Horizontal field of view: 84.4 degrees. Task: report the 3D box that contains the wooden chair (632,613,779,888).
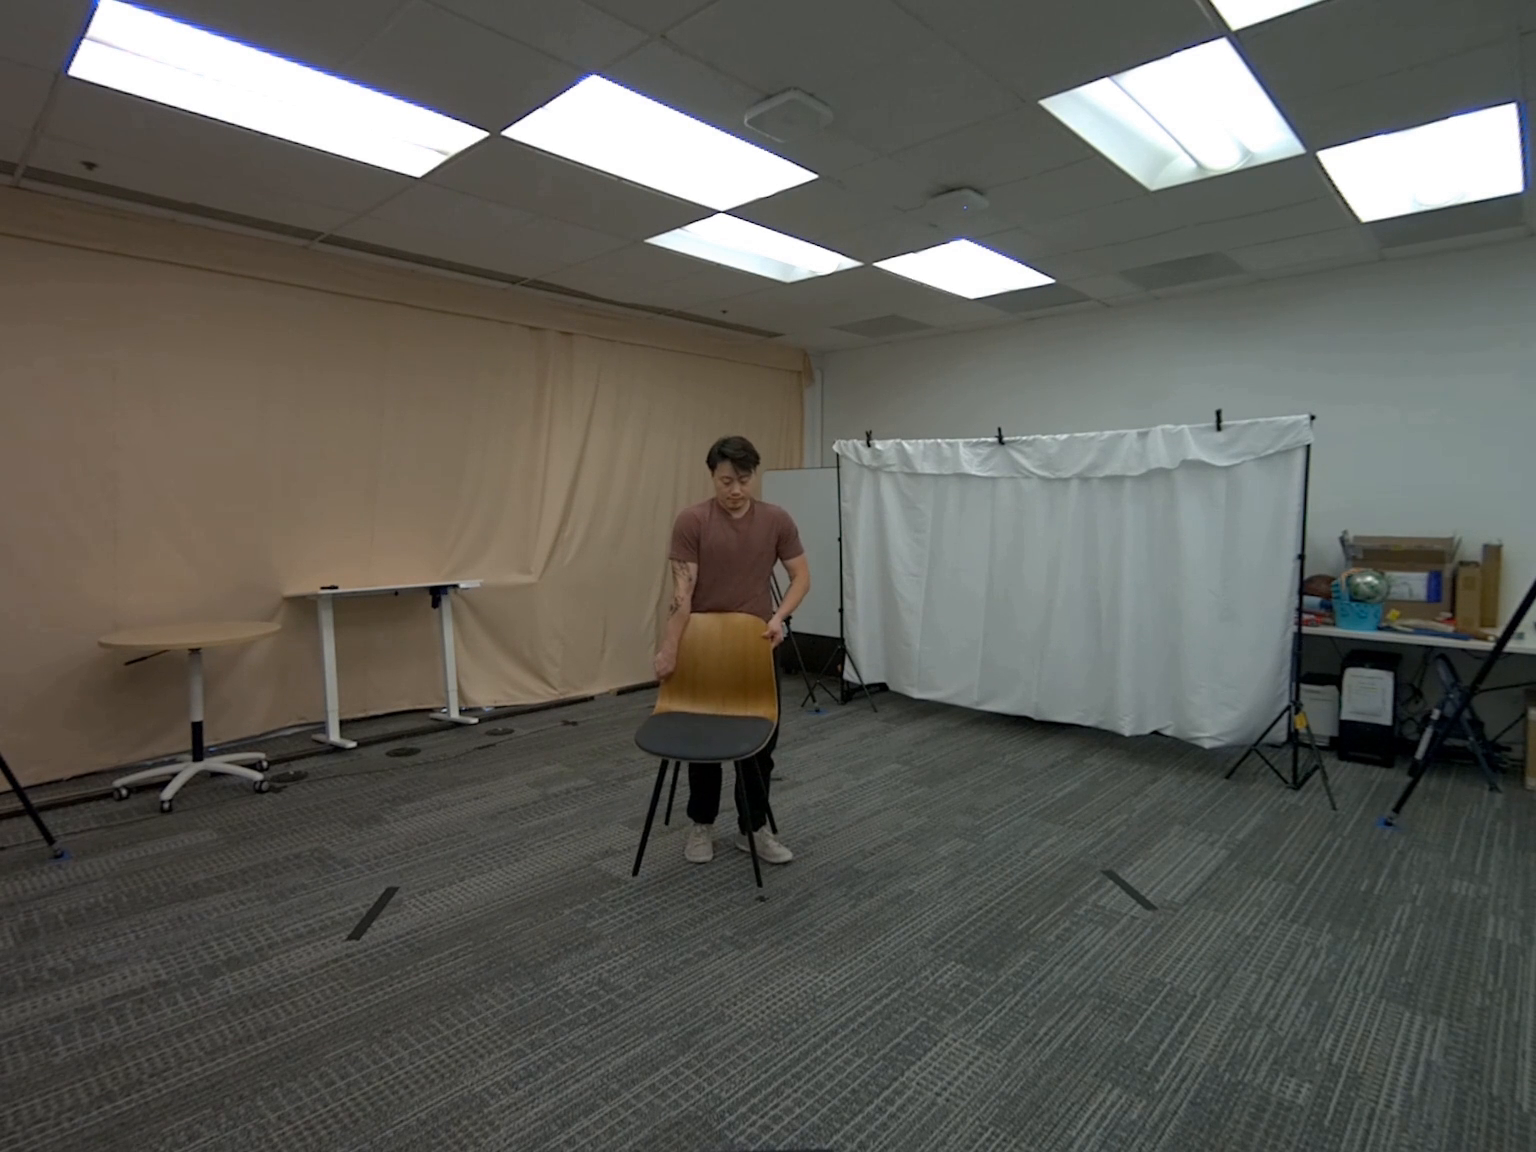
[{"bbox_3d":[-0.201,0.586,3.005,0.484,0.877,0.517,2,1,9],"label":"wooden chair"}]
